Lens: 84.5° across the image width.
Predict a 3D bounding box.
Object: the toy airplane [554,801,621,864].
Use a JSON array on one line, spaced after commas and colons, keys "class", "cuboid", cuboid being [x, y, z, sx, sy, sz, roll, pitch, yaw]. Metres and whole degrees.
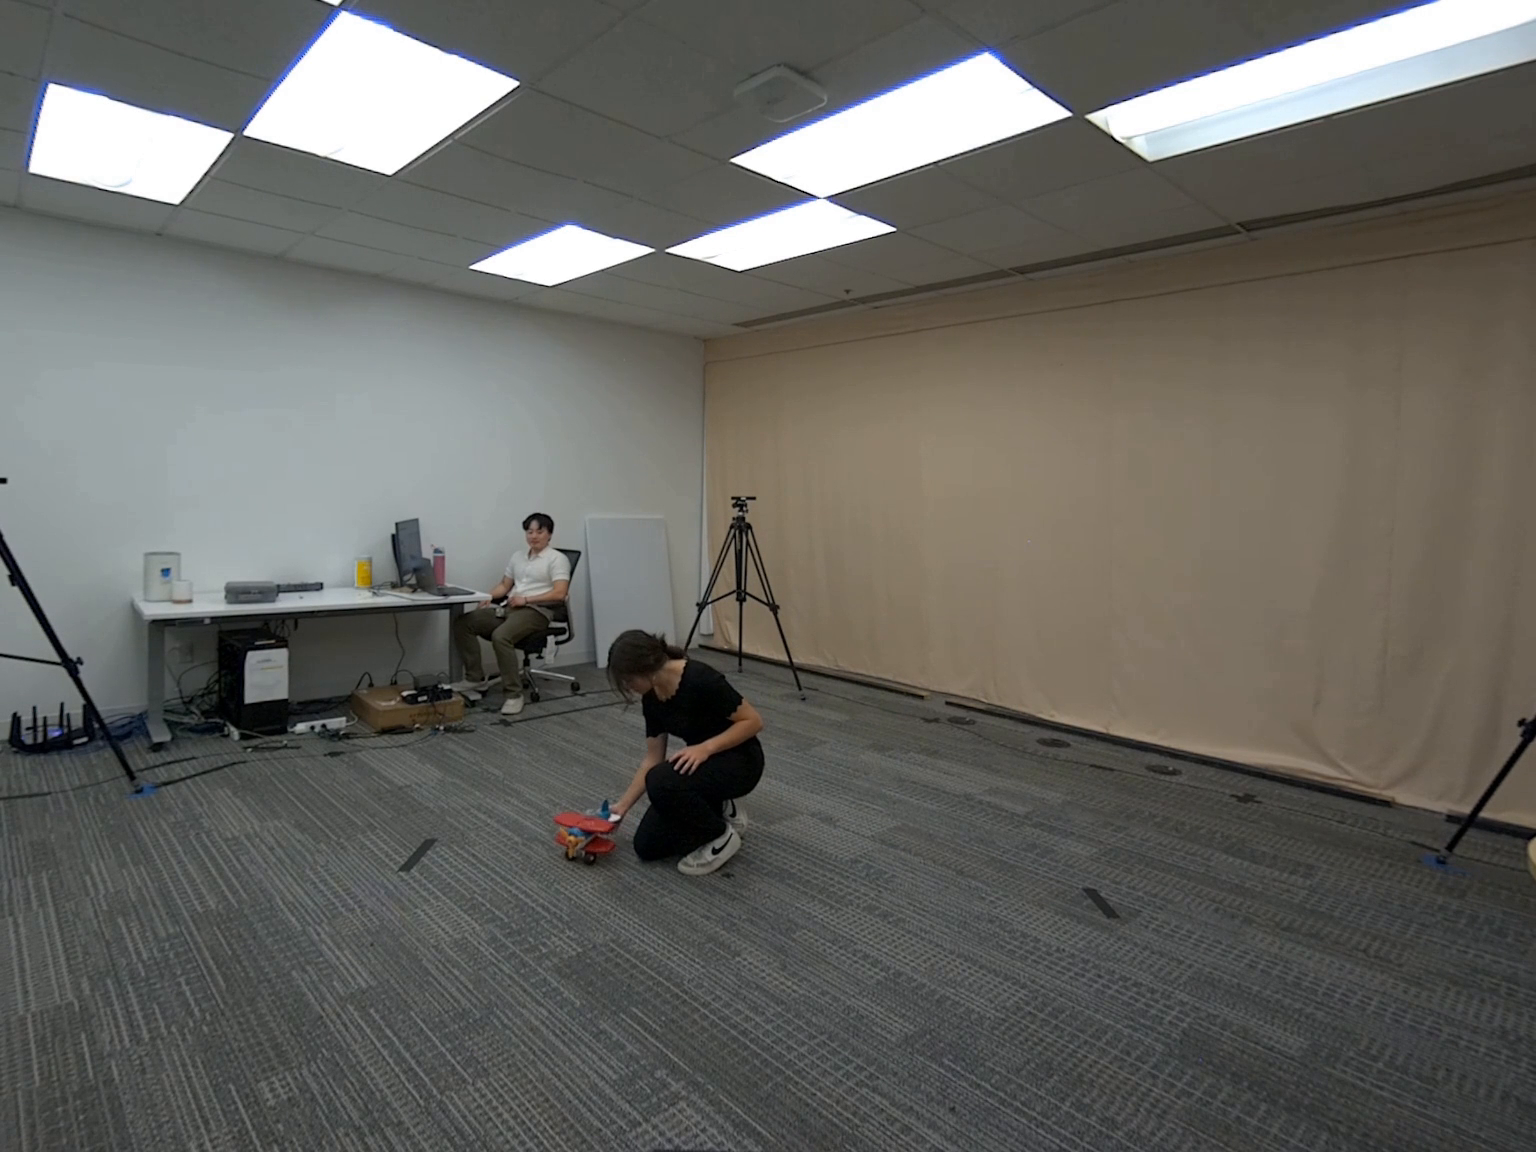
[{"class": "toy airplane", "cuboid": [-0.708, 0.975, 3.247, 0.251, 0.154, 0.264, -8, 23, -3]}]
